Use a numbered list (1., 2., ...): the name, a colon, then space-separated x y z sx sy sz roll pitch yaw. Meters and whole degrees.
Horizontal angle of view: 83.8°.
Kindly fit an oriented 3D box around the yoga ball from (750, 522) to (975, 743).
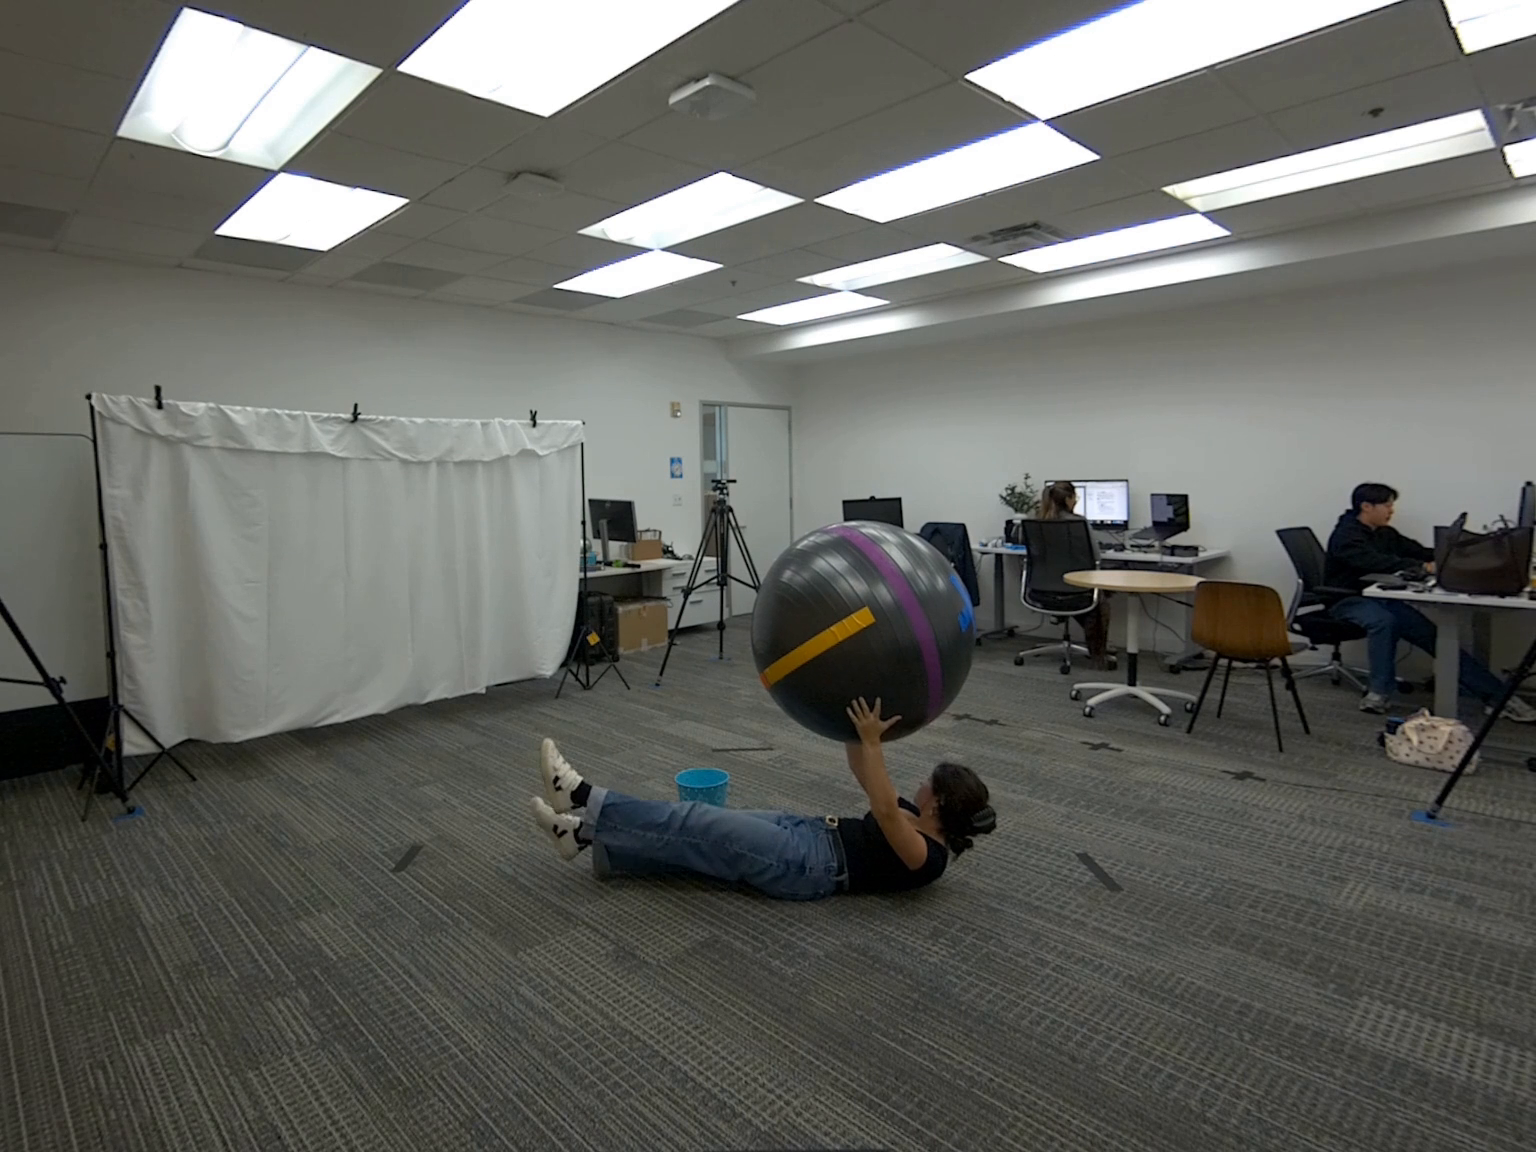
1. yoga ball: 0.318 0.191 2.933 0.757 0.755 0.762 -1 5 -2
